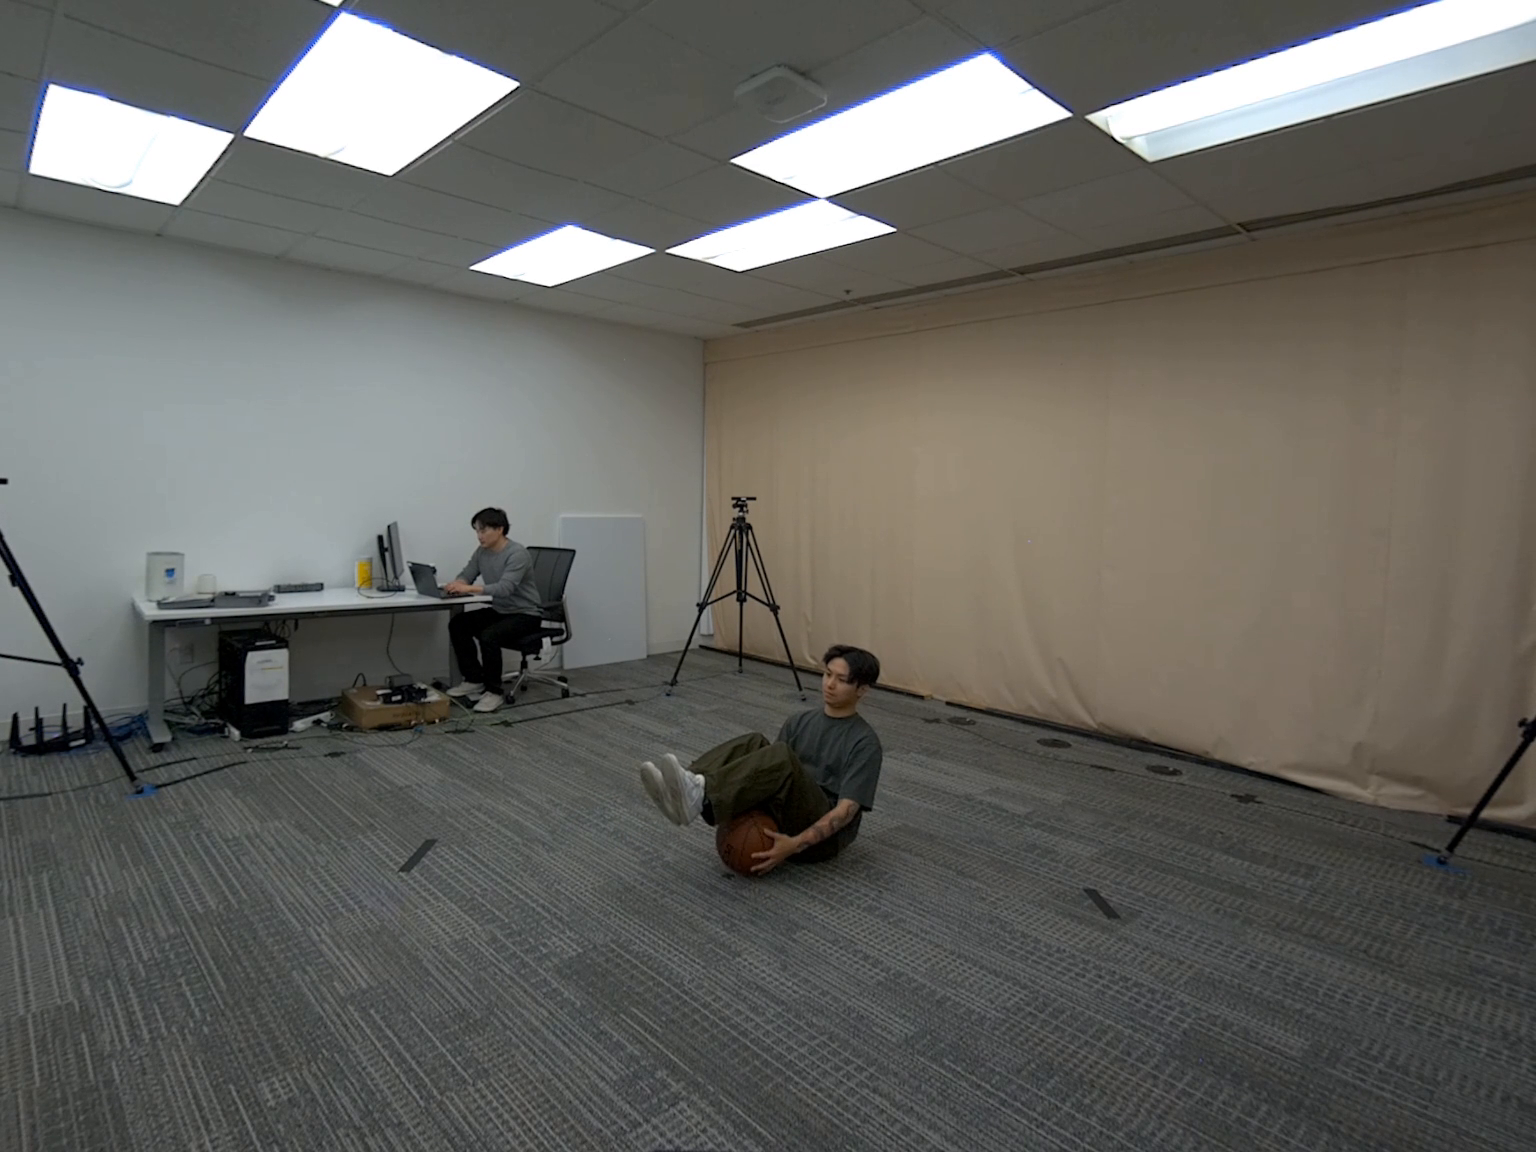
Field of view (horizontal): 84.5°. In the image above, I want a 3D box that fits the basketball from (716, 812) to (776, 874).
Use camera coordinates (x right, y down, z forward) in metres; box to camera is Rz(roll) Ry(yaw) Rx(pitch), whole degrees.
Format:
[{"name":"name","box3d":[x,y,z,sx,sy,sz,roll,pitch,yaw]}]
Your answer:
[{"name":"basketball","box3d":[-0.093,0.952,3.119,0.236,0.235,0.237,1,4,-1]}]
